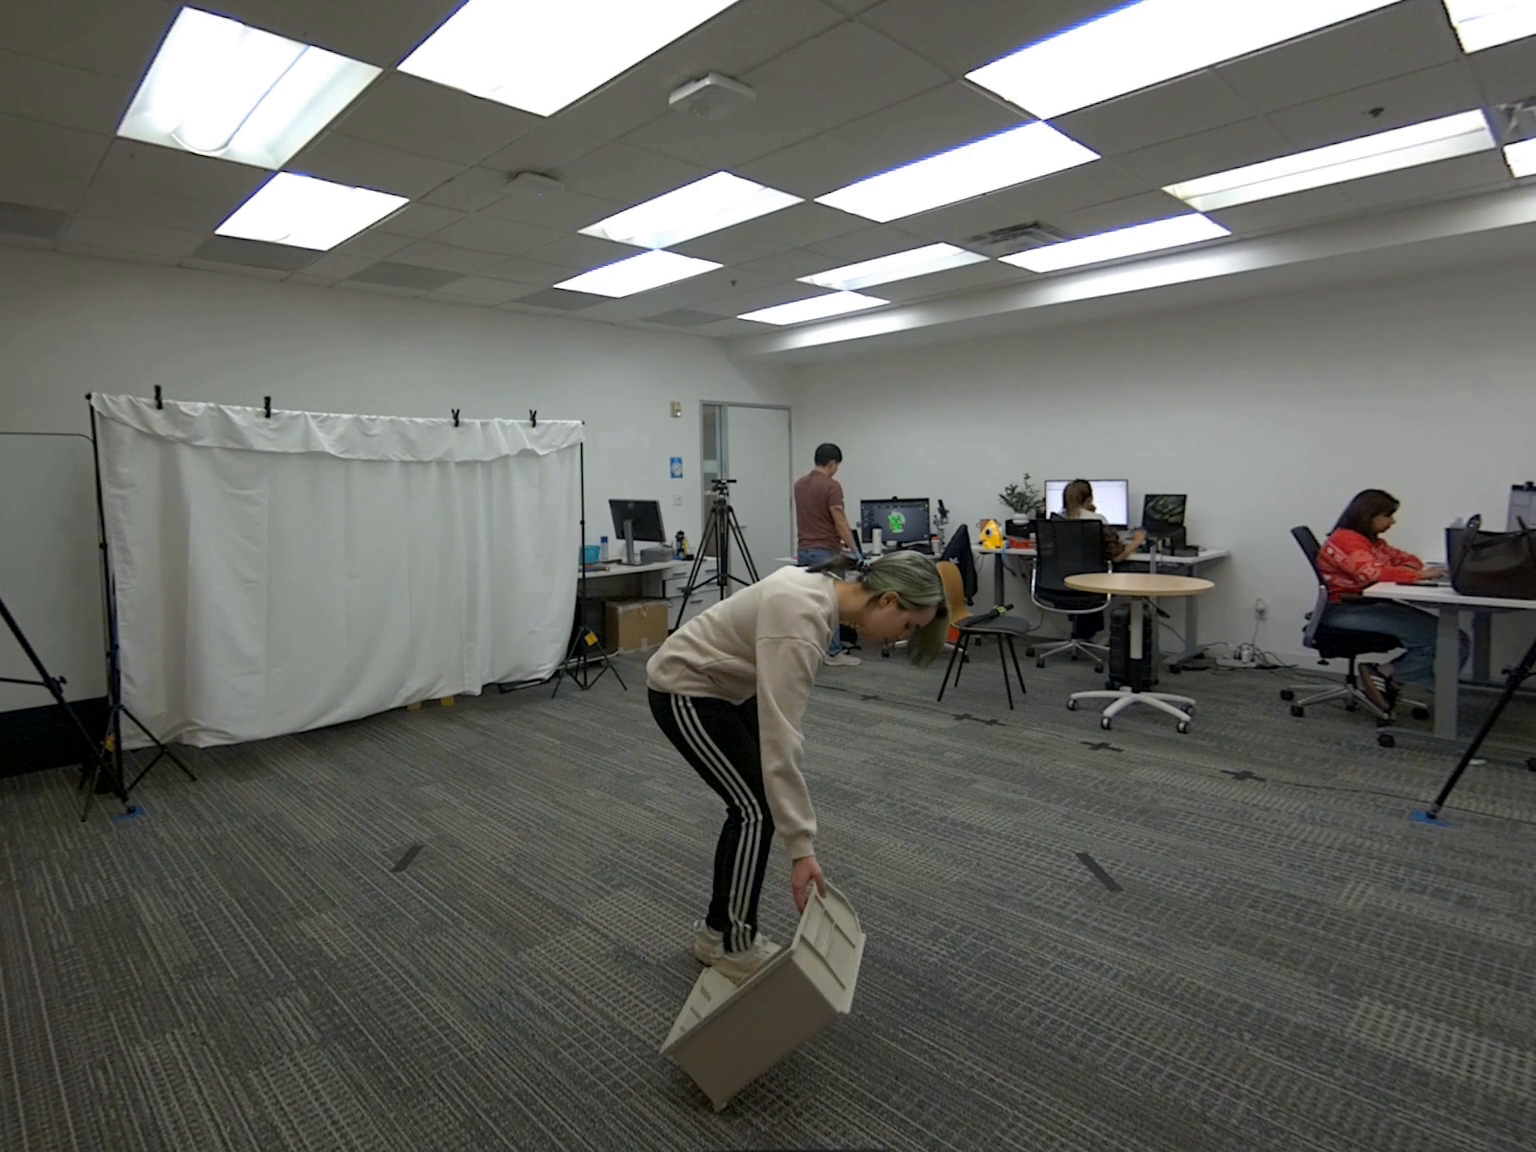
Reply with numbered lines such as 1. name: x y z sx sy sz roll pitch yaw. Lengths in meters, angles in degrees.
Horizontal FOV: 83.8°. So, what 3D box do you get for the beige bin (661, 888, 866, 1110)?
1. beige bin: 0.012 0.967 2.010 0.422 0.191 0.374 -44 -5 15
